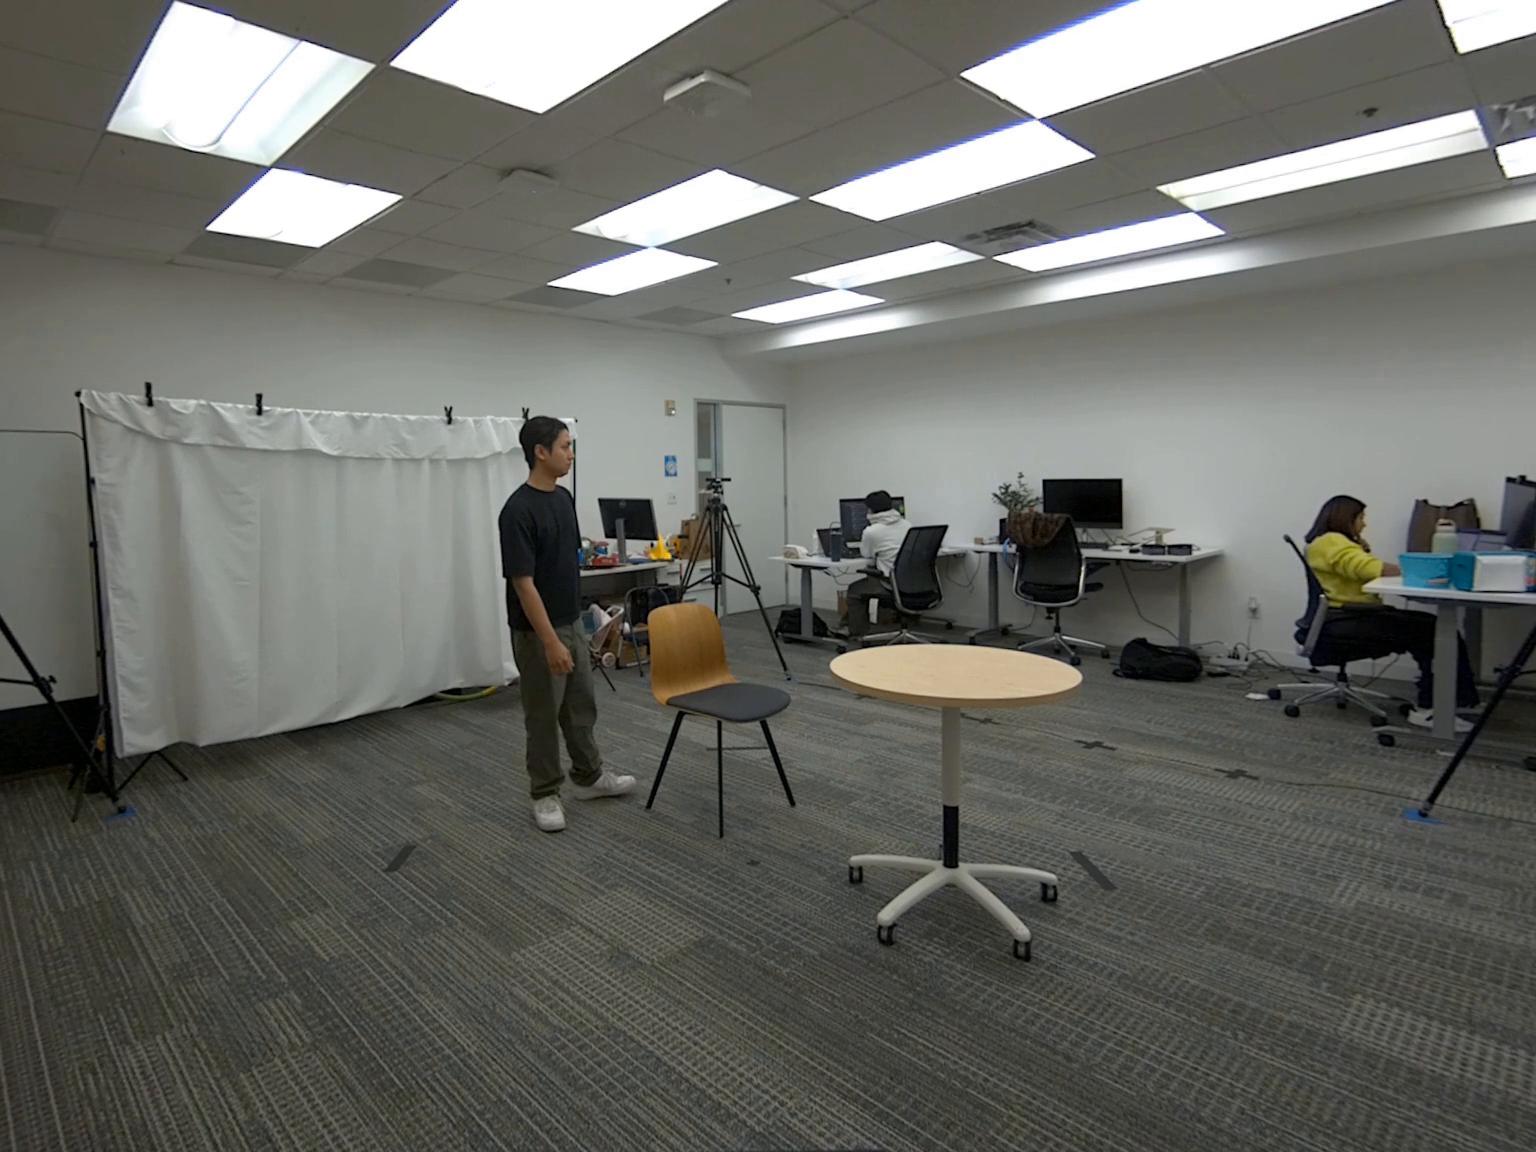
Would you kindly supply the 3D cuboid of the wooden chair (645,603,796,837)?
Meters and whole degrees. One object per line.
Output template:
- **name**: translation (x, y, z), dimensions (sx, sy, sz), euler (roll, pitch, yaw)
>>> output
- **wooden chair**: translation (-0.203, 0.558, 3.595), dimensions (0.537, 0.877, 0.465), euler (-3, 1, 44)
